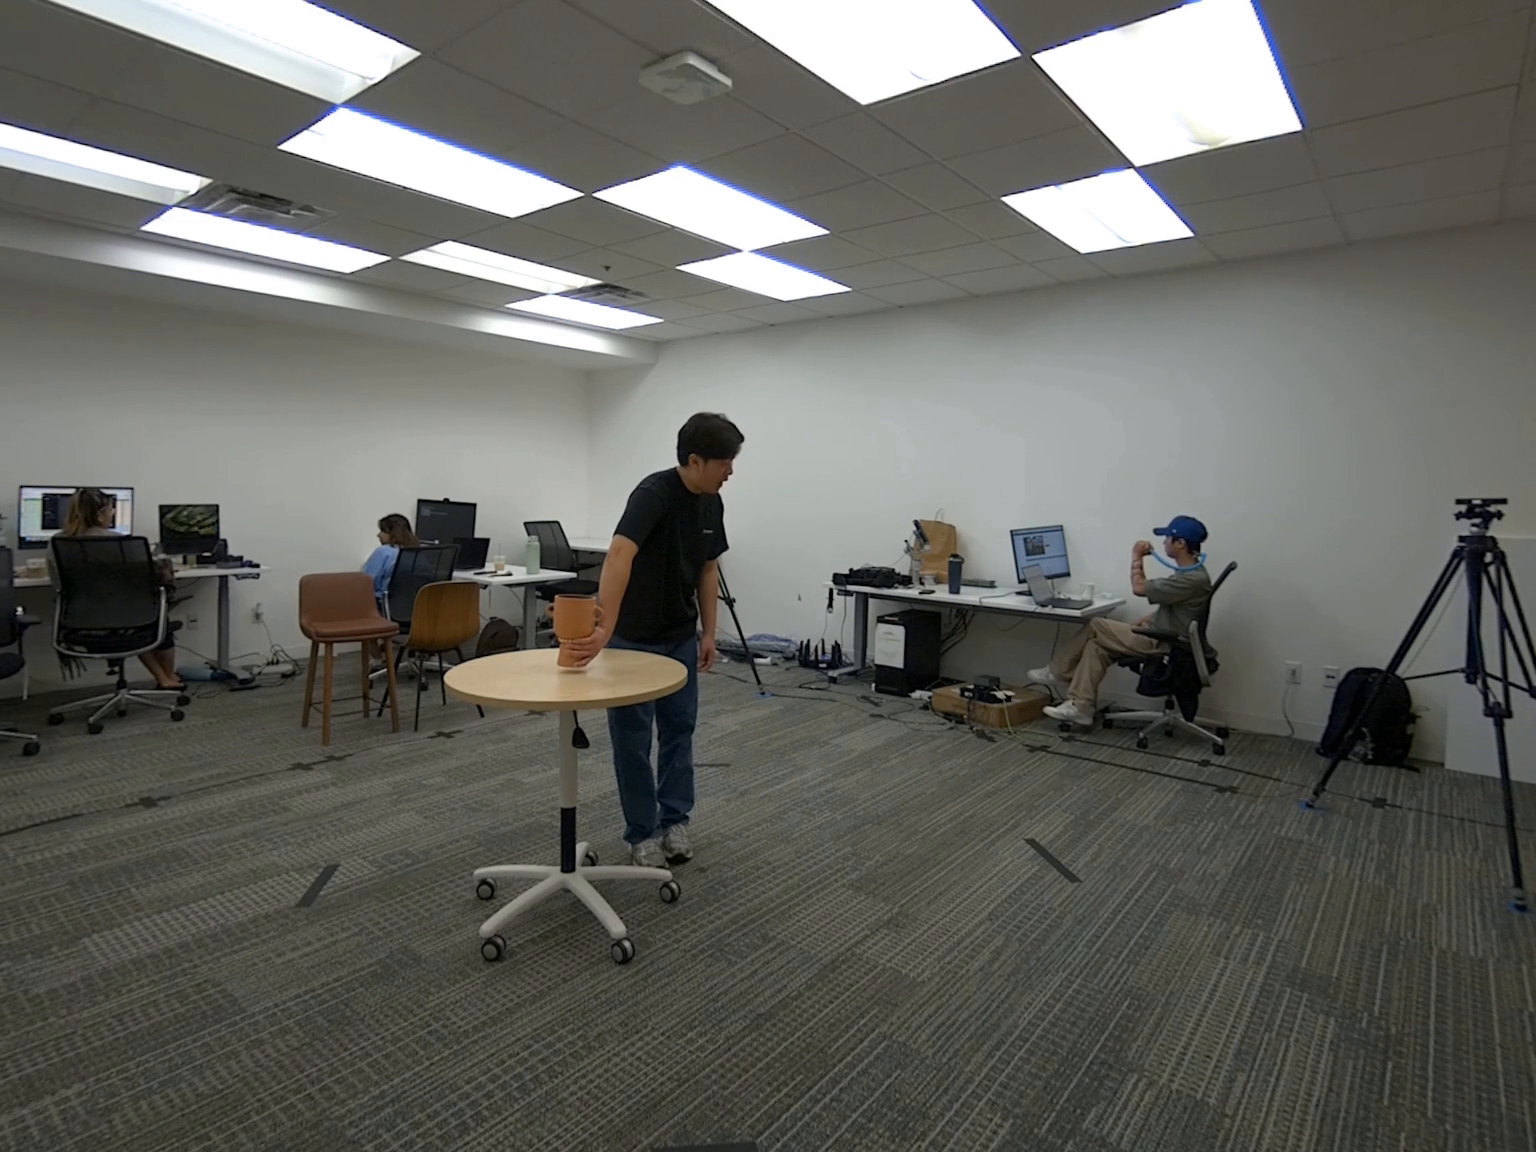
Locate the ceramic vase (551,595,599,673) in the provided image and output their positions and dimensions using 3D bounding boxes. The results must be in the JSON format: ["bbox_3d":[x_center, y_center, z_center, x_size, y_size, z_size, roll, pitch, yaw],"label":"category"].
[{"bbox_3d":[-0.633,0.167,2.730,0.130,0.219,0.164,0,3,-43],"label":"ceramic vase"}]
